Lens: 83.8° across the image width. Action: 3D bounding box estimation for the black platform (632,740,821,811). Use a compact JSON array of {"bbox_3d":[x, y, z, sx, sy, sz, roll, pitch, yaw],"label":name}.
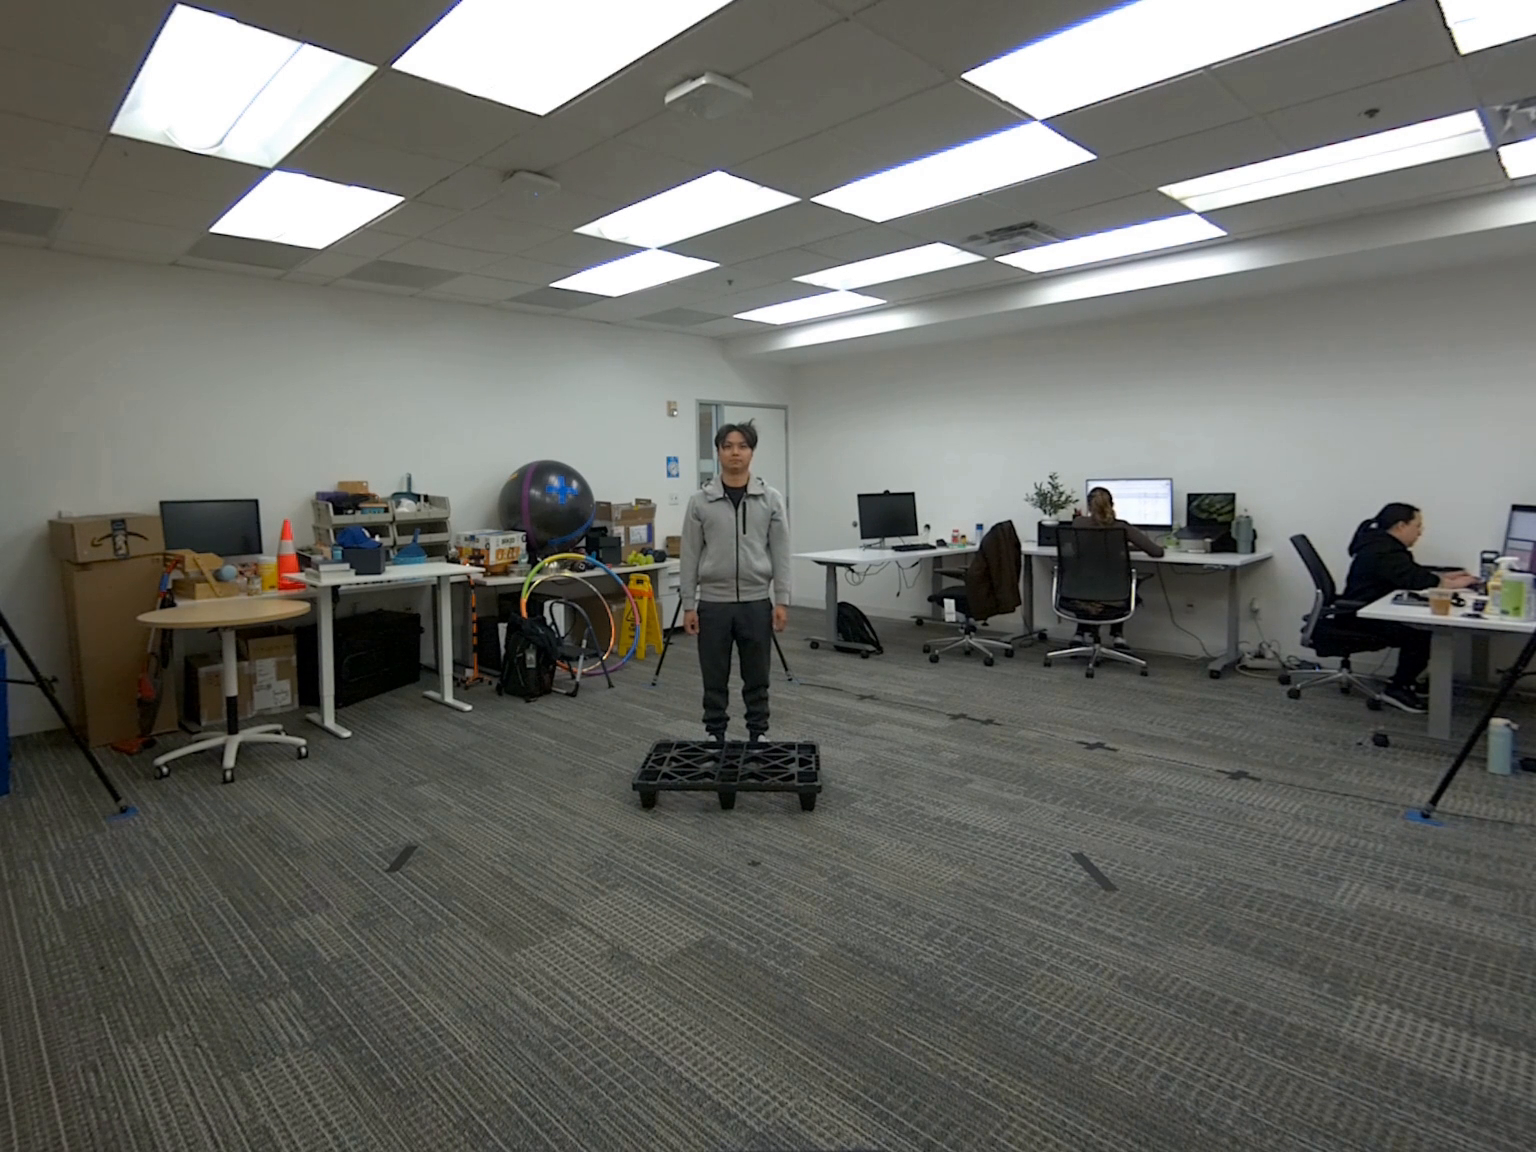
[{"bbox_3d":[-0.167,0.896,3.852,0.810,0.143,0.604,0,5,4],"label":"black platform"}]
